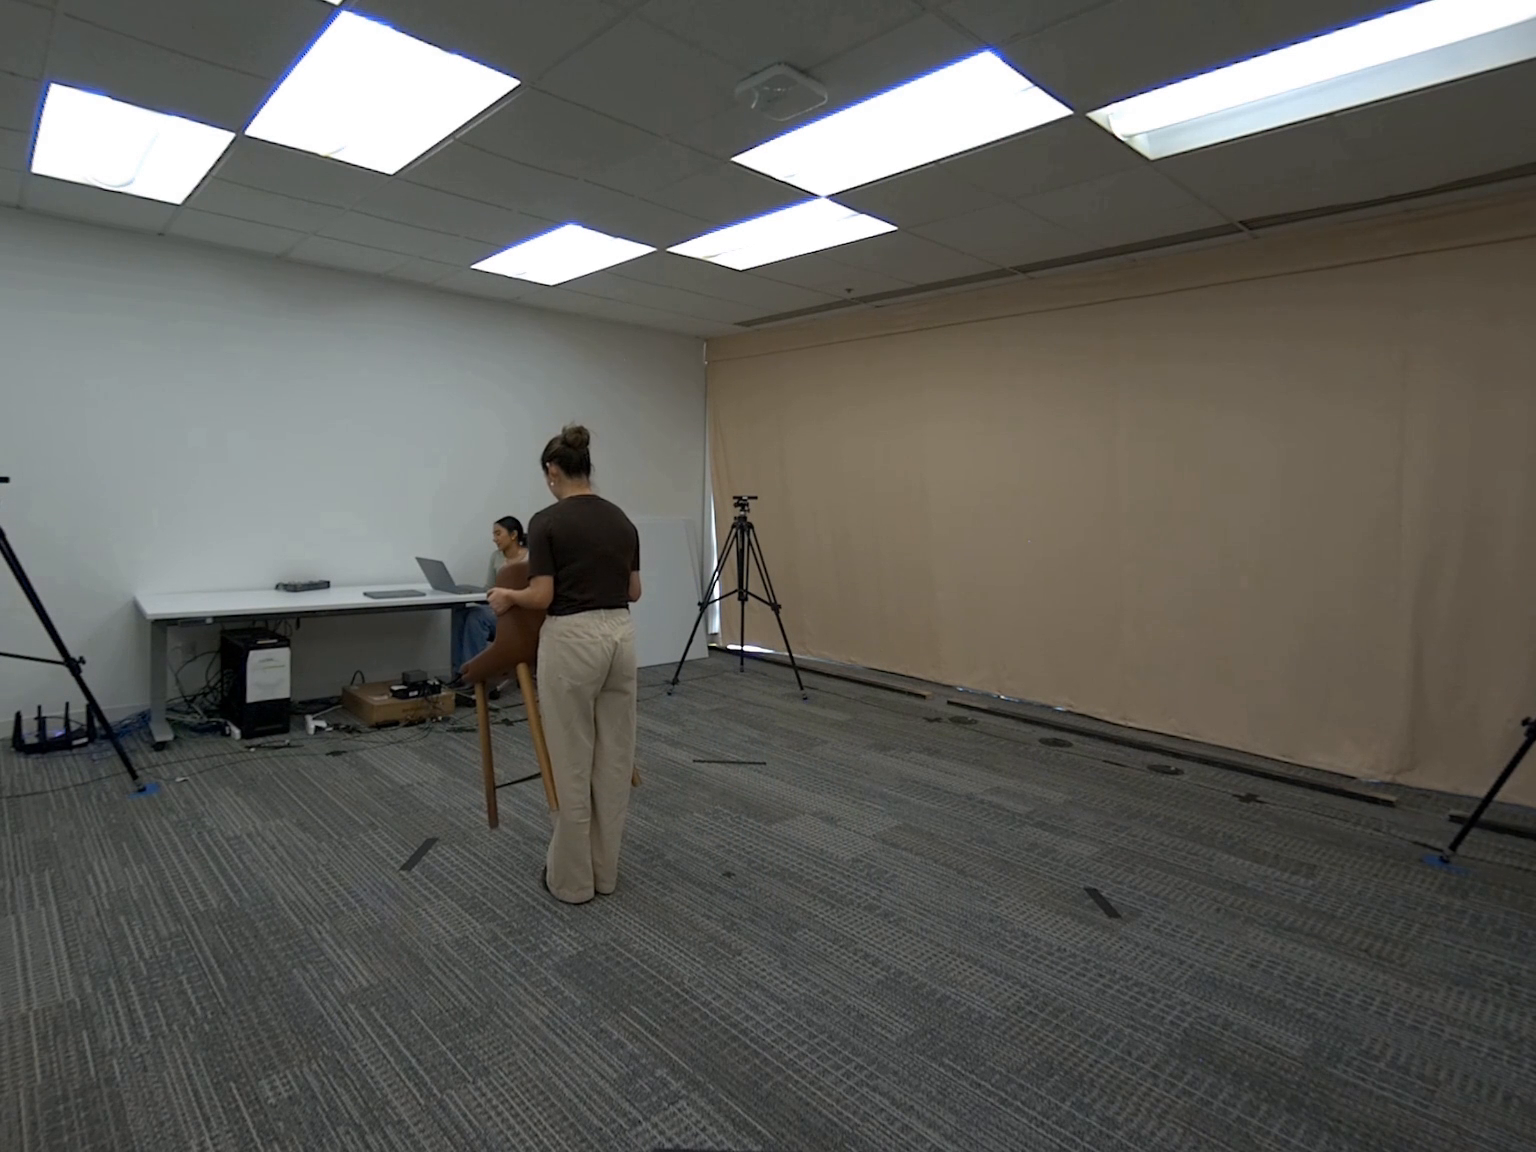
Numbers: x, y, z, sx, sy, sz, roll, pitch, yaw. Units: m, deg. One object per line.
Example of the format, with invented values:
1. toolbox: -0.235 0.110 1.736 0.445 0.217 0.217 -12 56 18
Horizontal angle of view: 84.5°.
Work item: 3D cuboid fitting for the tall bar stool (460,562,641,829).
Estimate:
1. tall bar stool: -0.857 0.437 3.165 0.446 0.899 0.473 -3 -16 -45
